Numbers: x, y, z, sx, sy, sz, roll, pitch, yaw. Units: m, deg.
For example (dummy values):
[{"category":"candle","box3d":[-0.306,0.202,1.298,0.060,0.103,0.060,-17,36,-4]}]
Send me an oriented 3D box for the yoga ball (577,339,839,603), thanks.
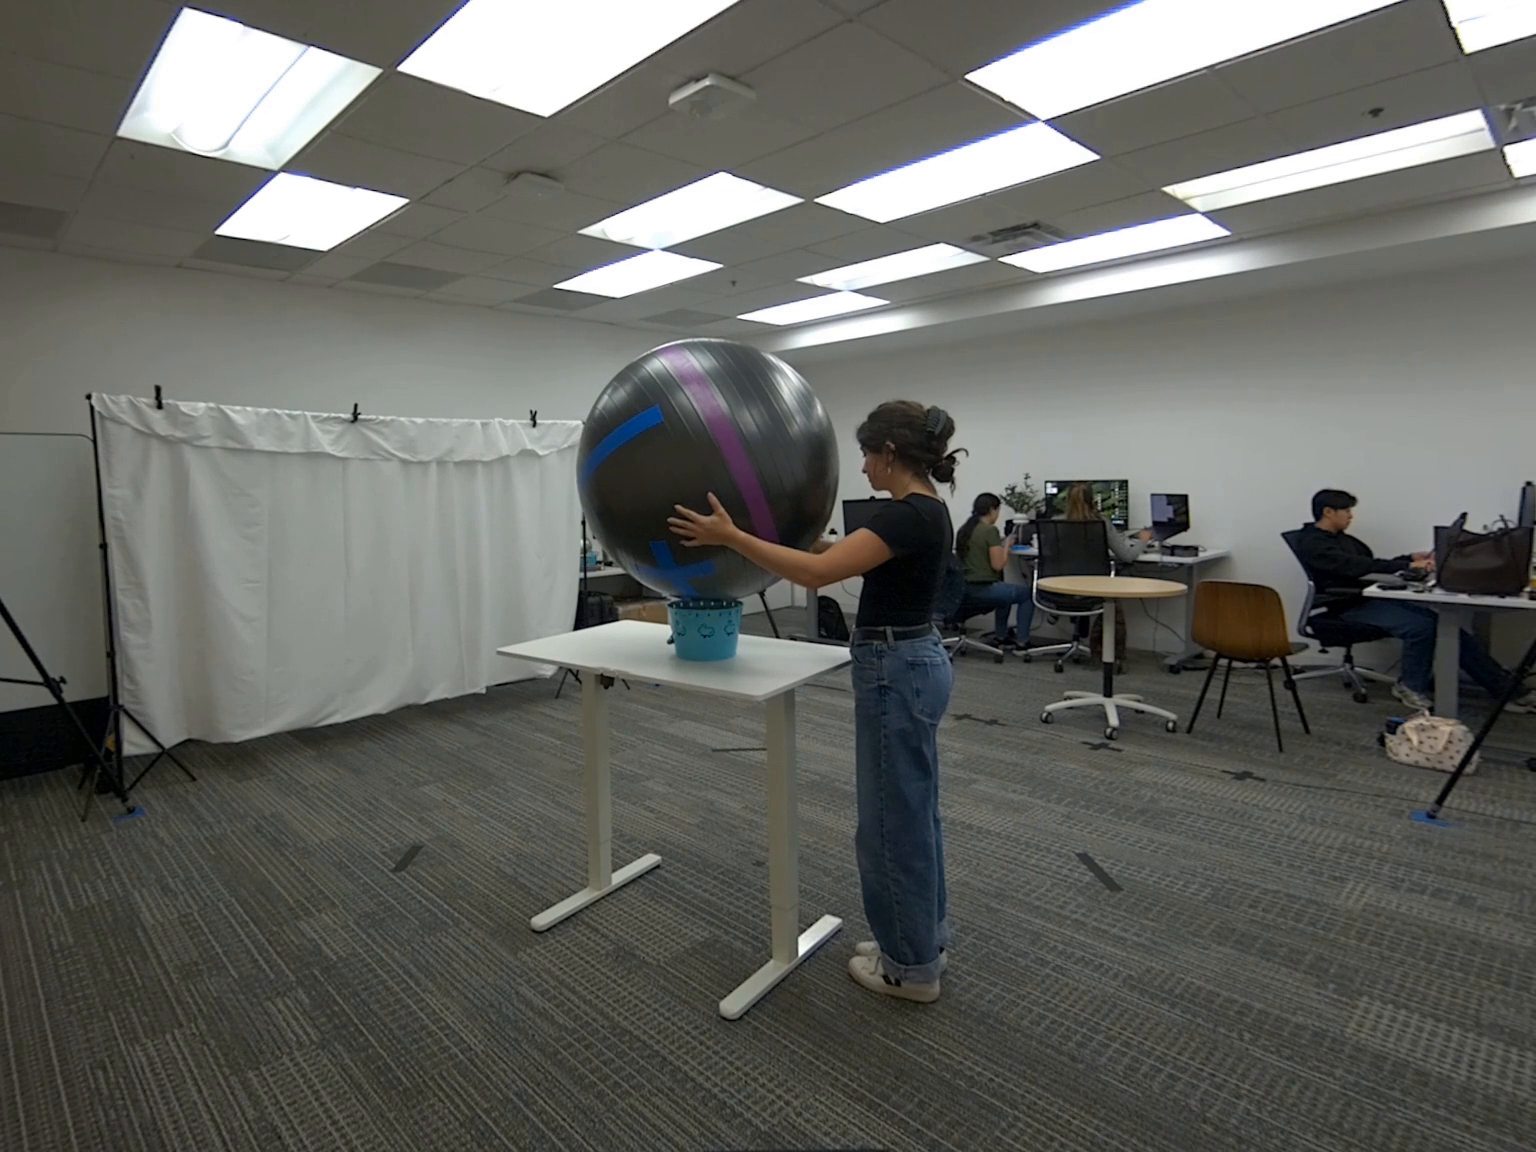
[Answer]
[{"category":"yoga ball","box3d":[-0.171,-0.299,2.484,0.757,0.755,0.762,-1,5,-2]}]
